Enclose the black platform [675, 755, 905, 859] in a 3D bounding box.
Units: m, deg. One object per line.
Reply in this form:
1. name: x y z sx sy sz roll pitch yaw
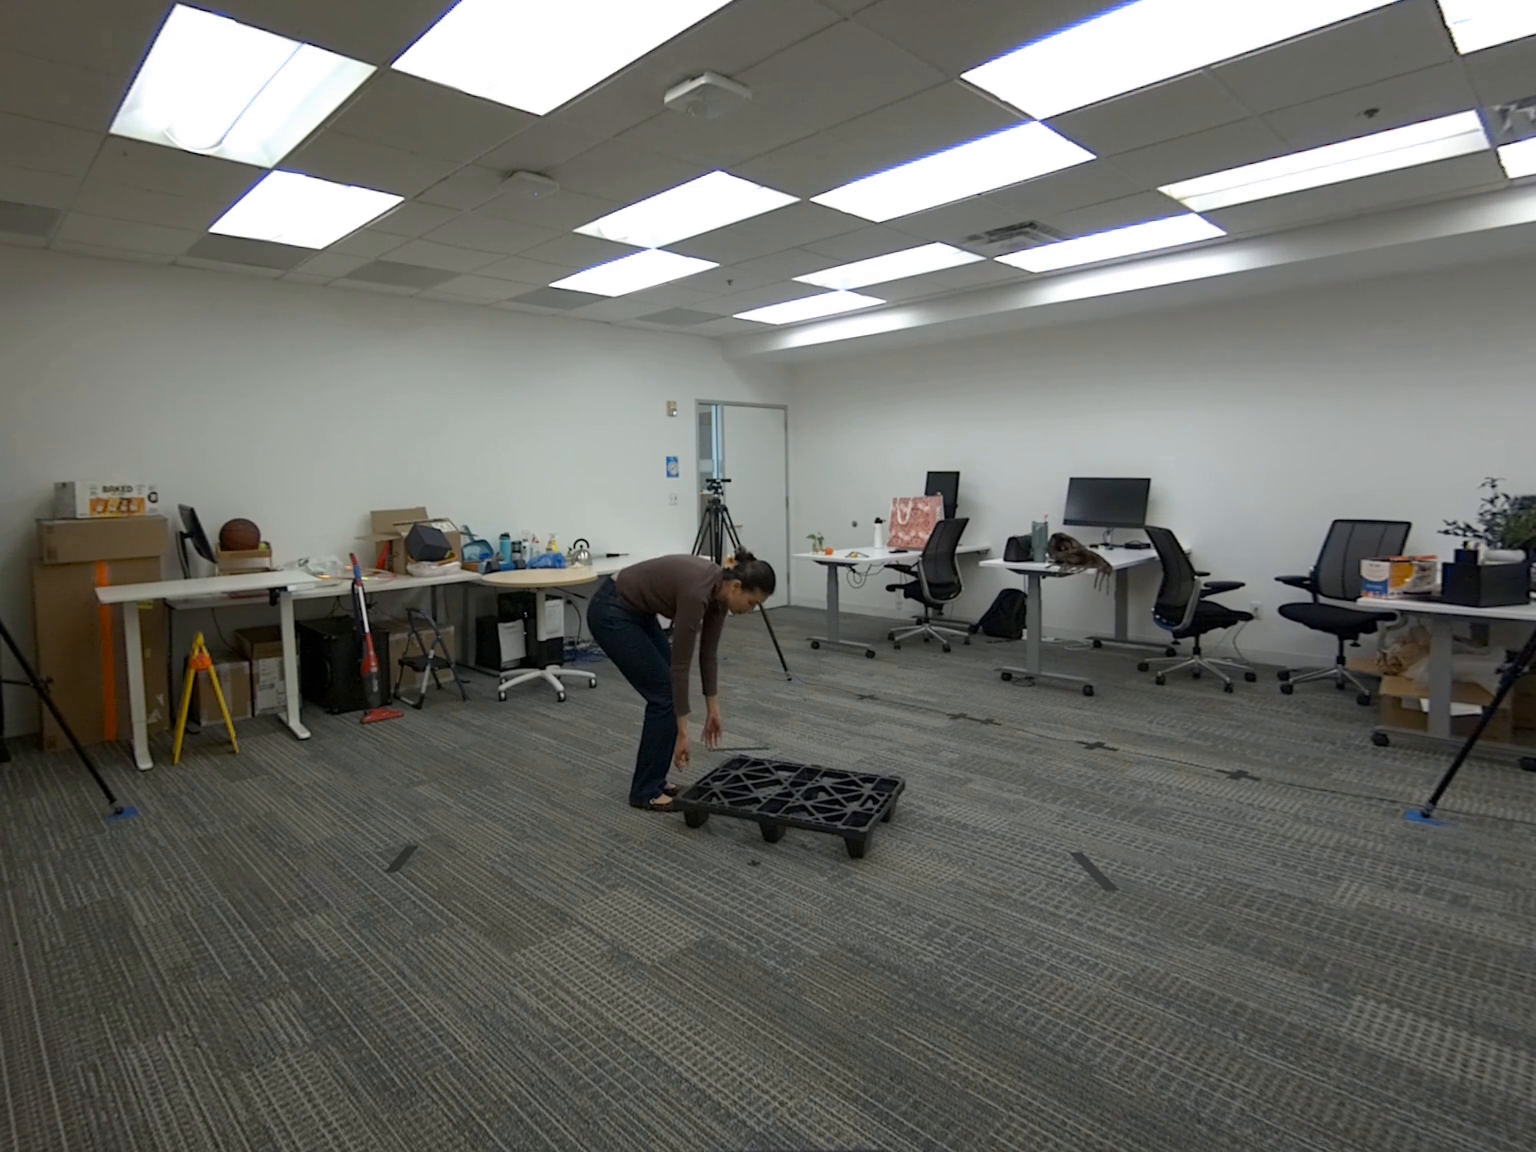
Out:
1. black platform: 0.097 0.931 3.492 0.824 0.143 0.593 2 6 25
